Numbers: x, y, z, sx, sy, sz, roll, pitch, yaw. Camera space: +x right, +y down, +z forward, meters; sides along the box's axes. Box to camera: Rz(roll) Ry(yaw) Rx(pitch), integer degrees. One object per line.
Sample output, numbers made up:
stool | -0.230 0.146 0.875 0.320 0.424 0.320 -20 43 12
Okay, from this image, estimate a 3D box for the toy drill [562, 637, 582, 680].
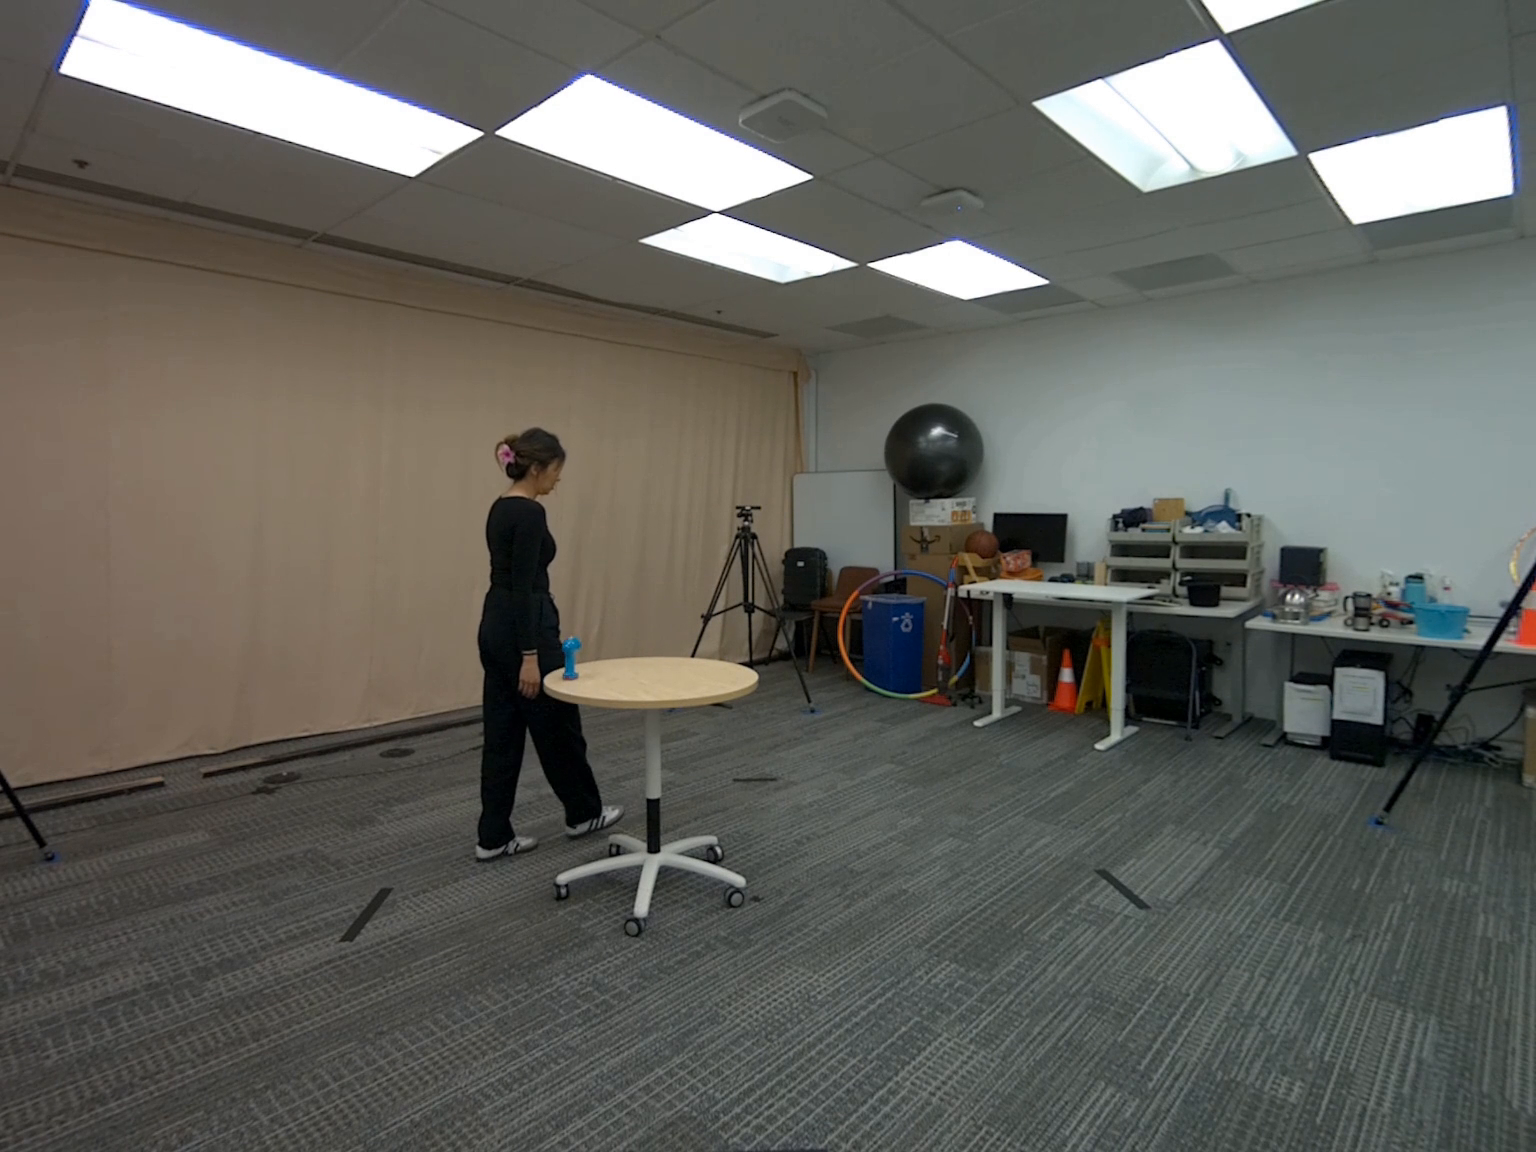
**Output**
toy drill | -0.710 0.291 3.019 0.061 0.146 0.170 -1 4 1
